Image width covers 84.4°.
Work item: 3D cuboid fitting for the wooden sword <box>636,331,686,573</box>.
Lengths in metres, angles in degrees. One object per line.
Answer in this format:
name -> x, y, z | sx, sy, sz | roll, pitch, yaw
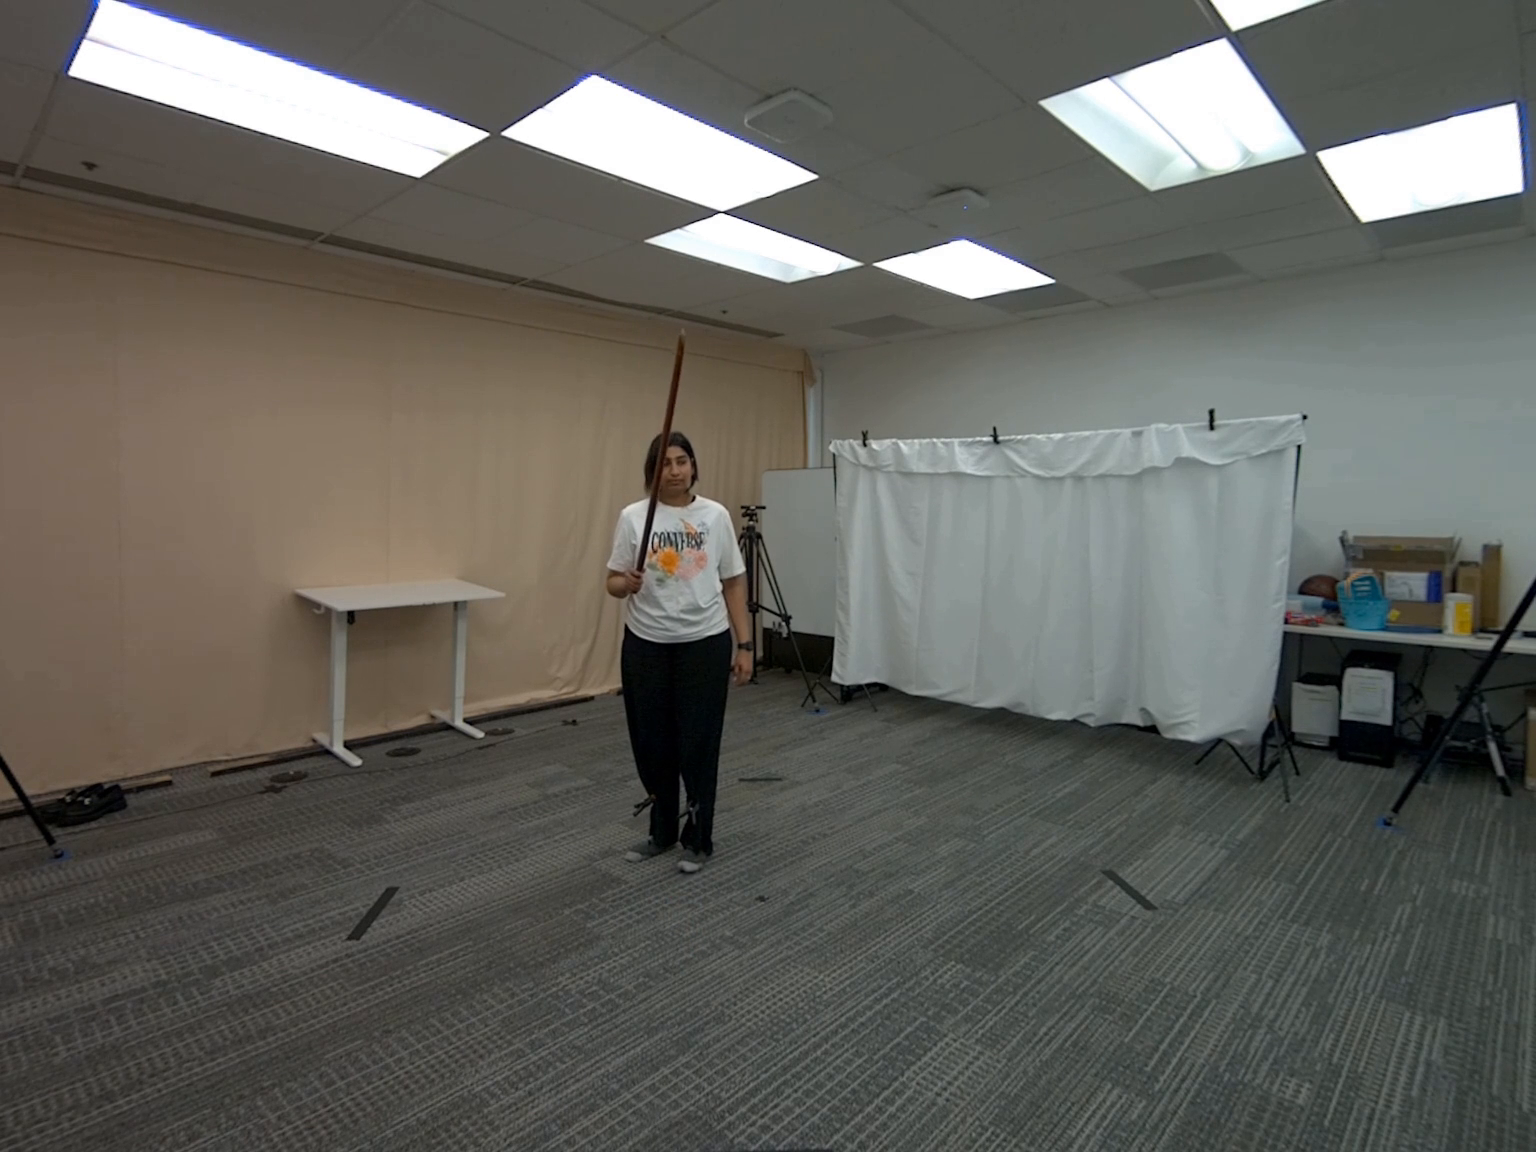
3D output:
wooden sword -> -0.364, -0.332, 2.772 | 0.051, 1.016, 0.024 | 13, 36, -6
